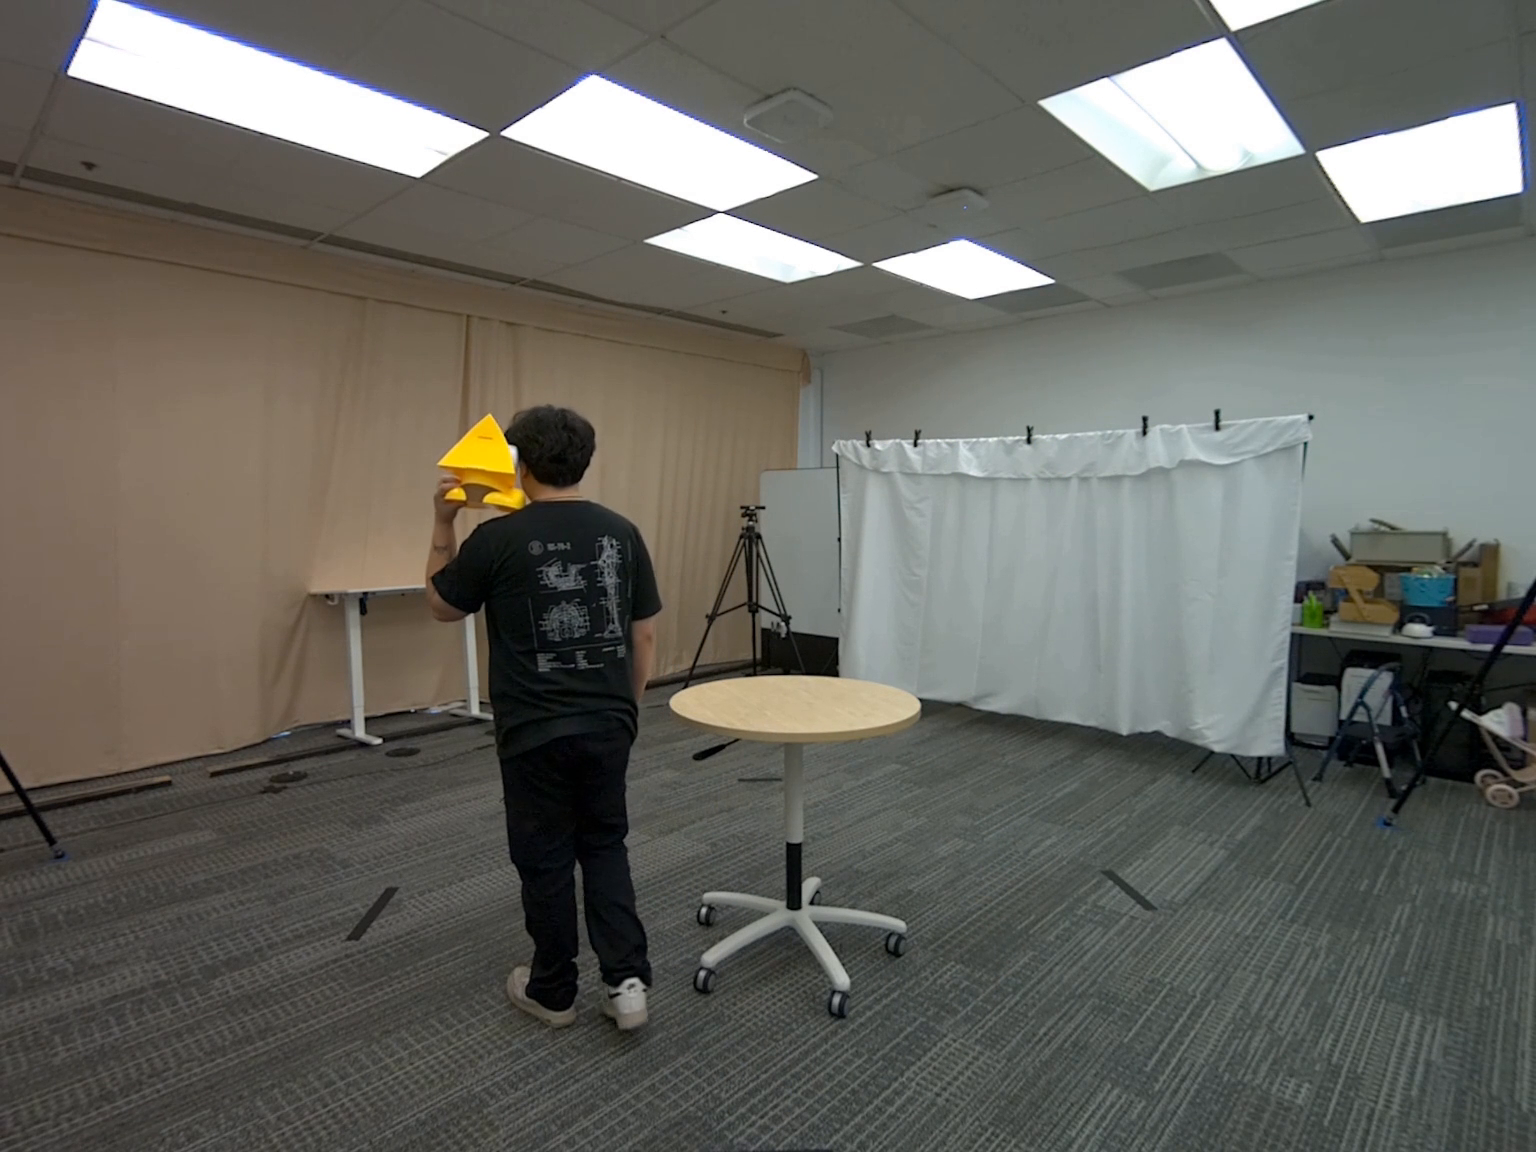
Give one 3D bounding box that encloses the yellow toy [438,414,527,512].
[{"bbox_3d":[-0.721,-0.294,2.213,0.206,0.231,0.192,8,-5,2],"label":"yellow toy"}]
